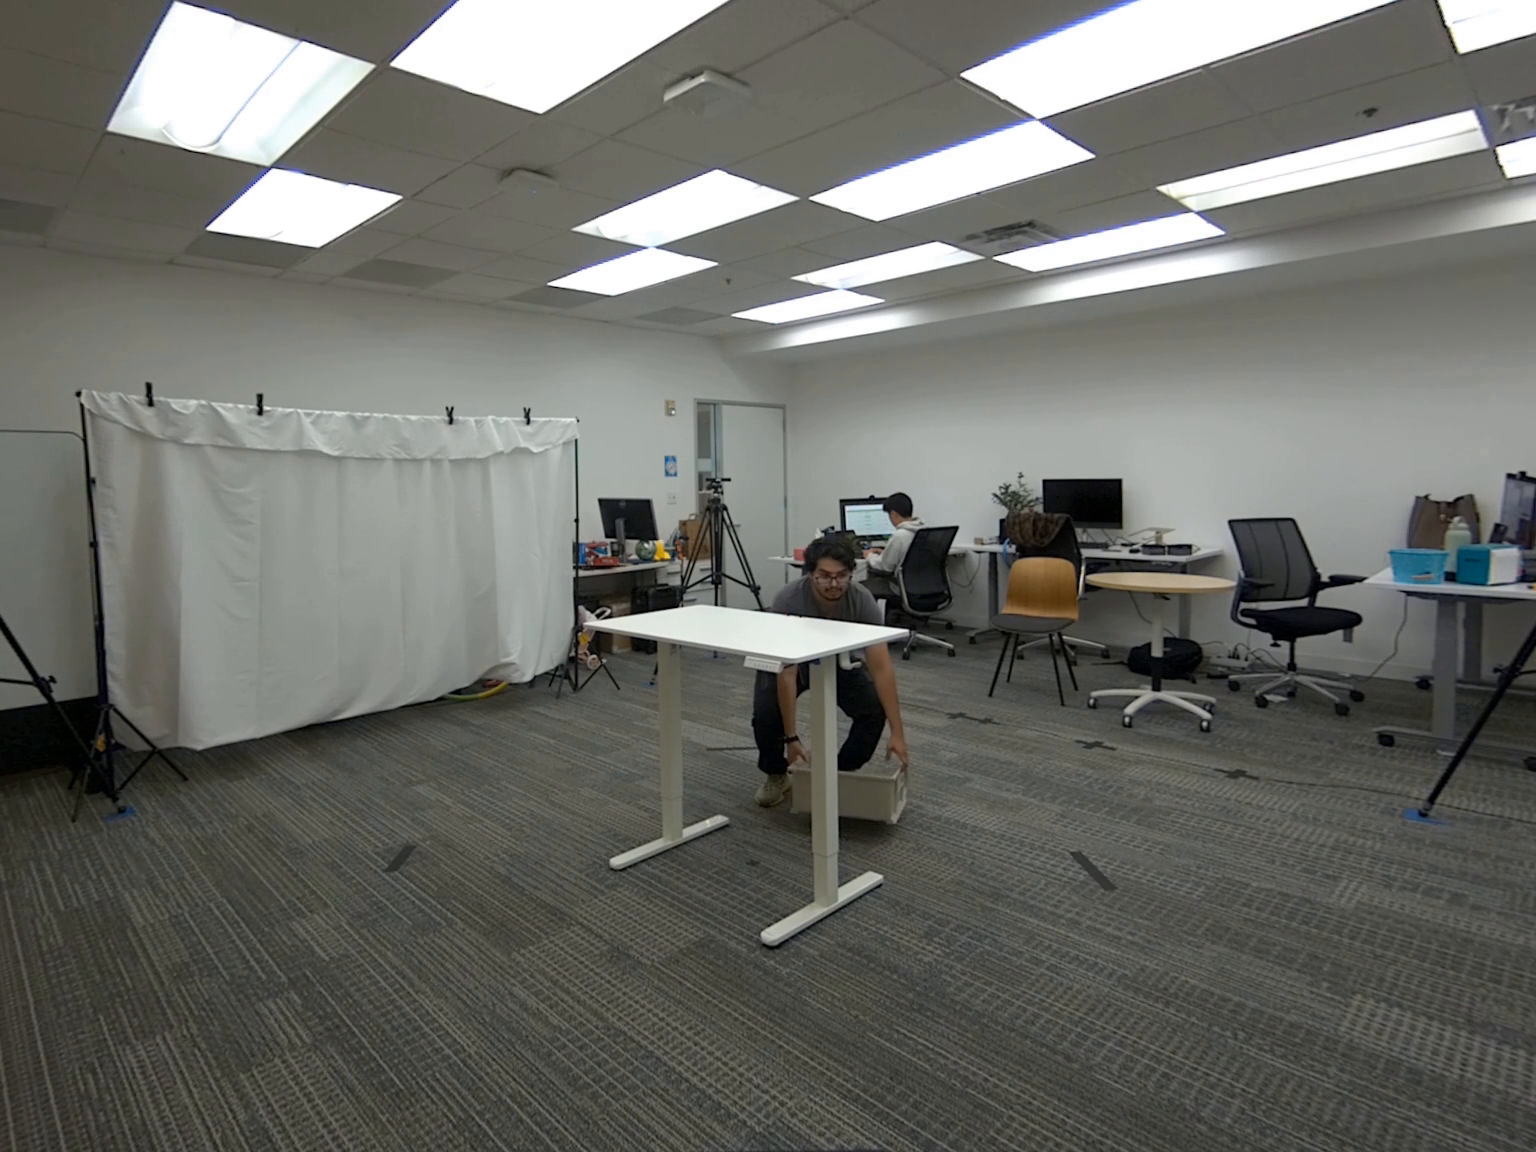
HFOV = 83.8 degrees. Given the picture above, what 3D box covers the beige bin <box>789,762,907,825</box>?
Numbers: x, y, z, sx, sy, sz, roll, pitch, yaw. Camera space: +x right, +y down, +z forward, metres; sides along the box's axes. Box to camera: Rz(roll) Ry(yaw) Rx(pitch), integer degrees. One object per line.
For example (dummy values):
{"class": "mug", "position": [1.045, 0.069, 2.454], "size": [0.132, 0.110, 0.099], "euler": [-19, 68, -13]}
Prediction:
{"class": "beige bin", "position": [0.331, 0.839, 3.474], "size": [0.430, 0.188, 0.372], "euler": [2, 3, 17]}
